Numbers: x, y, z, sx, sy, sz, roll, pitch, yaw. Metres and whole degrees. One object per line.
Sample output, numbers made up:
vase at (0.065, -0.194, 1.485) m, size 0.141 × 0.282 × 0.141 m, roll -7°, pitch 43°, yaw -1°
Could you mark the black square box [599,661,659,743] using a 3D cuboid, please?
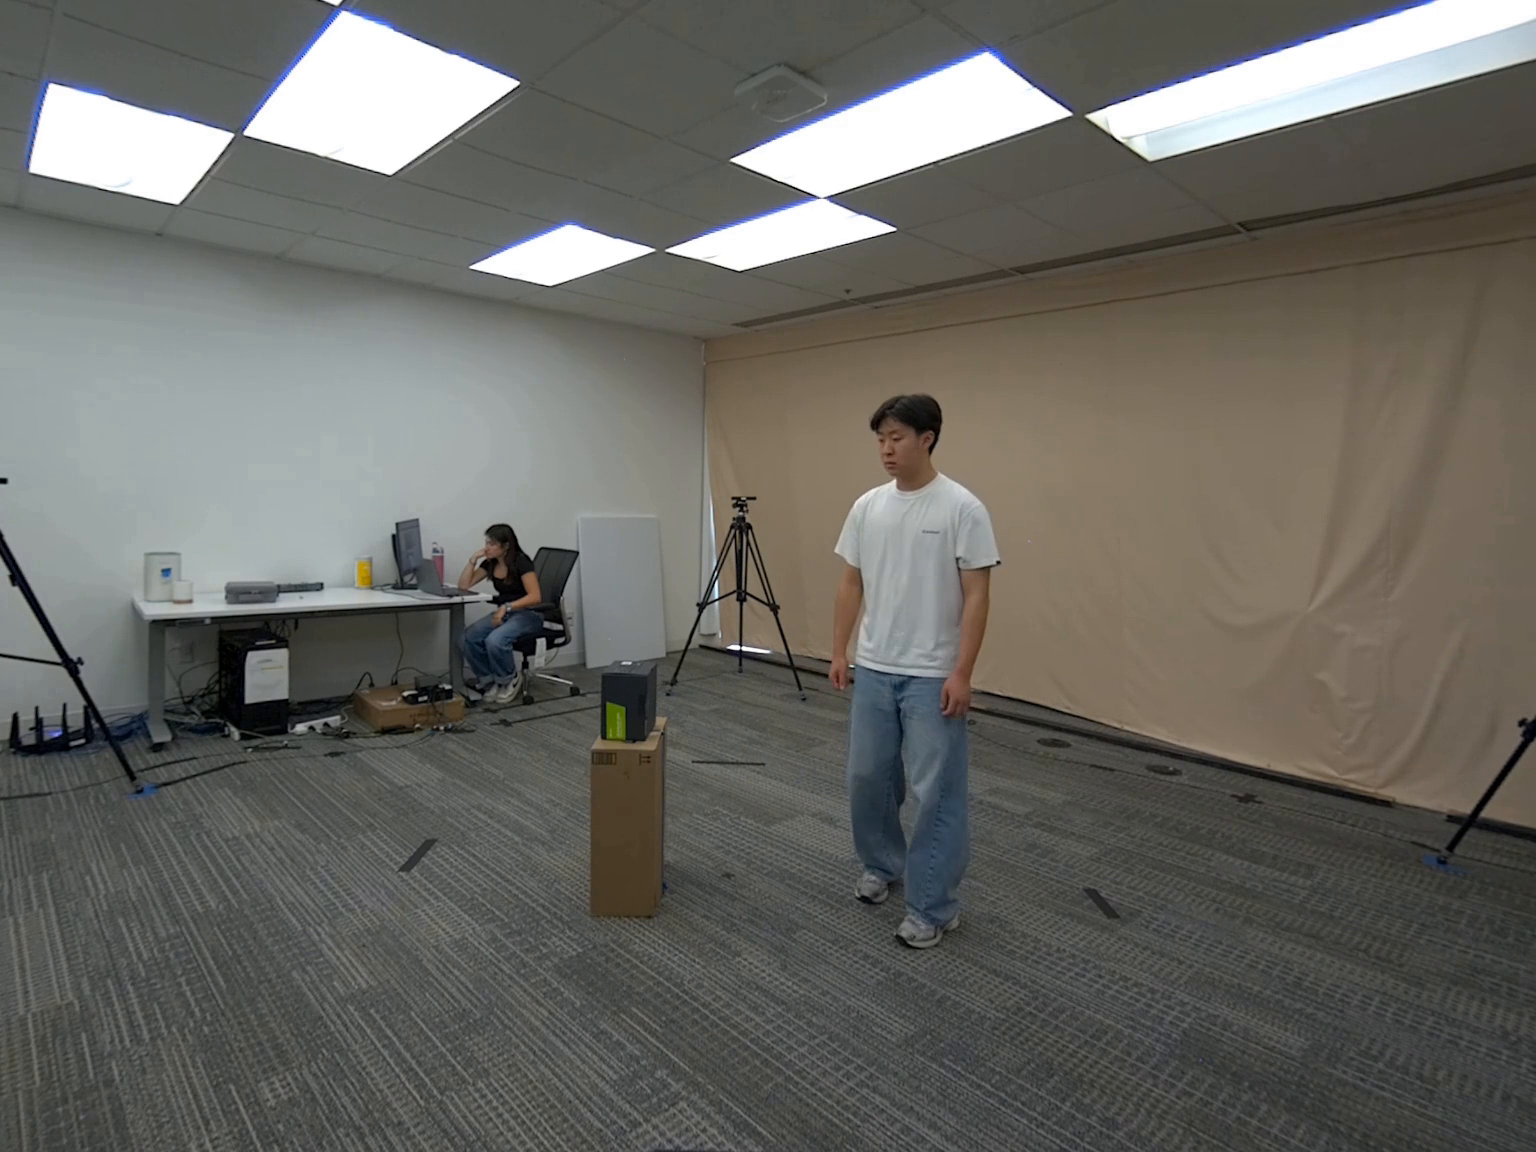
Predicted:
black square box at (-0.483, 0.431, 2.939) m, size 0.157 × 0.227 × 0.216 m, roll 1°, pitch 3°, yaw 5°
